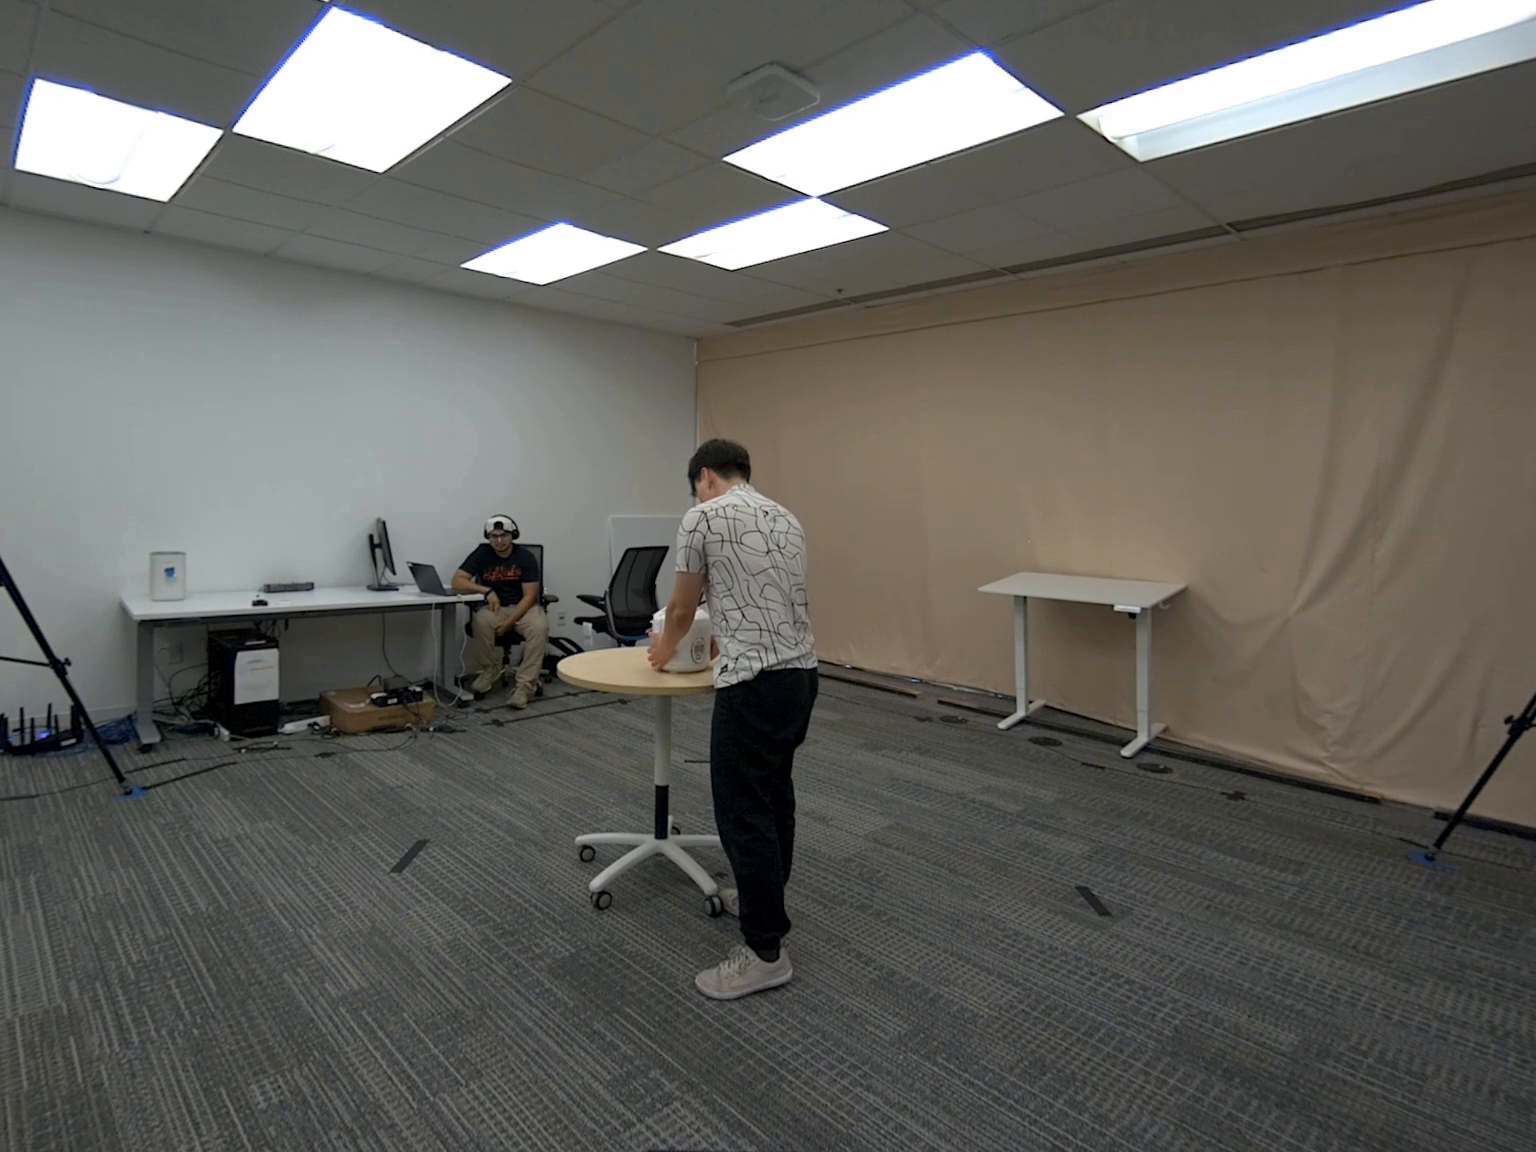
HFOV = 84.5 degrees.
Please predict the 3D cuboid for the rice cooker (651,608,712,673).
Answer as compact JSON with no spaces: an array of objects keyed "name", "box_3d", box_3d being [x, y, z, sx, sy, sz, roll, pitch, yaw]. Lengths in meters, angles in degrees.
[{"name":"rice cooker","box_3d":[-0.308,0.213,2.977,0.216,0.232,0.223,-3,5,-38]}]
